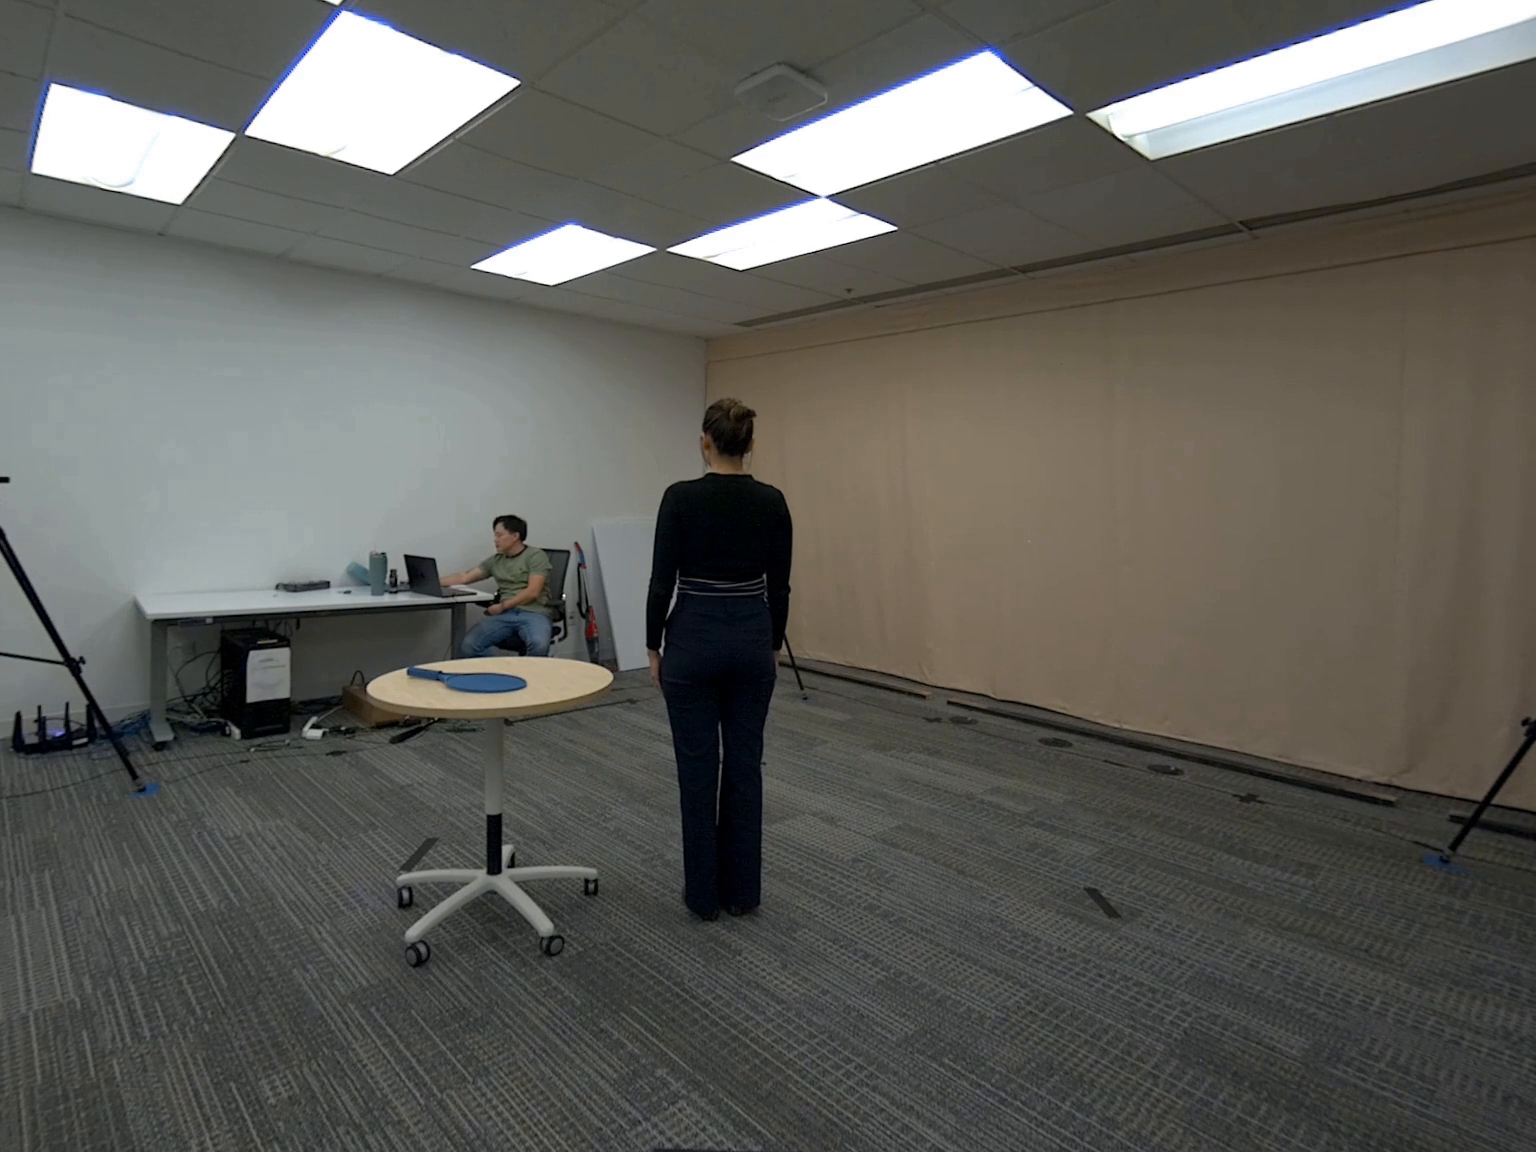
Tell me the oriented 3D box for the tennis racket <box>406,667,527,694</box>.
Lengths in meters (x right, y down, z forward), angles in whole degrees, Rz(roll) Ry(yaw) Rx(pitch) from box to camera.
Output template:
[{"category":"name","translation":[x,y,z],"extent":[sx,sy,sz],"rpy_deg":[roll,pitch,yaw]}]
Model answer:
[{"category":"tennis racket","translation":[-0.979,0.334,2.670],"extent":[0.439,0.031,0.211],"rpy_deg":[4,5,18]}]
